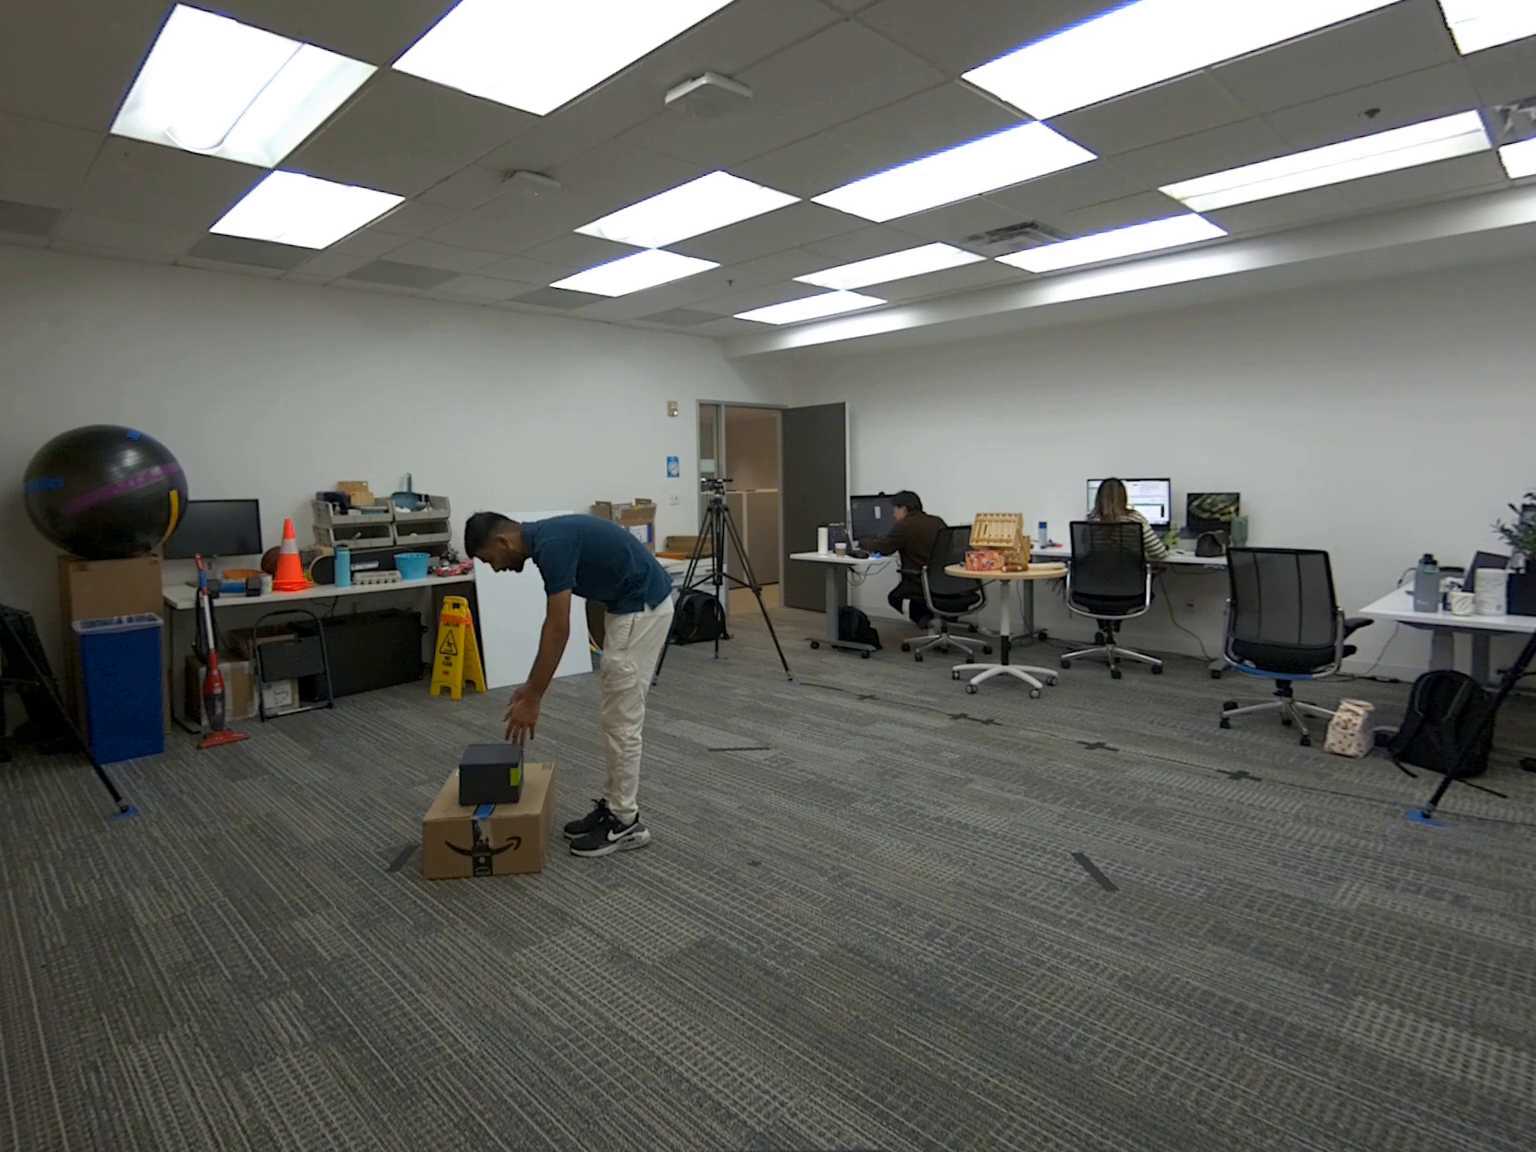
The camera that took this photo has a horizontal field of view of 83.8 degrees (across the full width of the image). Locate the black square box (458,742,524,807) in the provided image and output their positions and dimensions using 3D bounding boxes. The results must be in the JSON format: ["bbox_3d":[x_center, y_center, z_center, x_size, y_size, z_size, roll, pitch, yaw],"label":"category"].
[{"bbox_3d":[-1.046,0.747,3.256,0.215,0.155,0.231,0,6,-10],"label":"black square box"}]
